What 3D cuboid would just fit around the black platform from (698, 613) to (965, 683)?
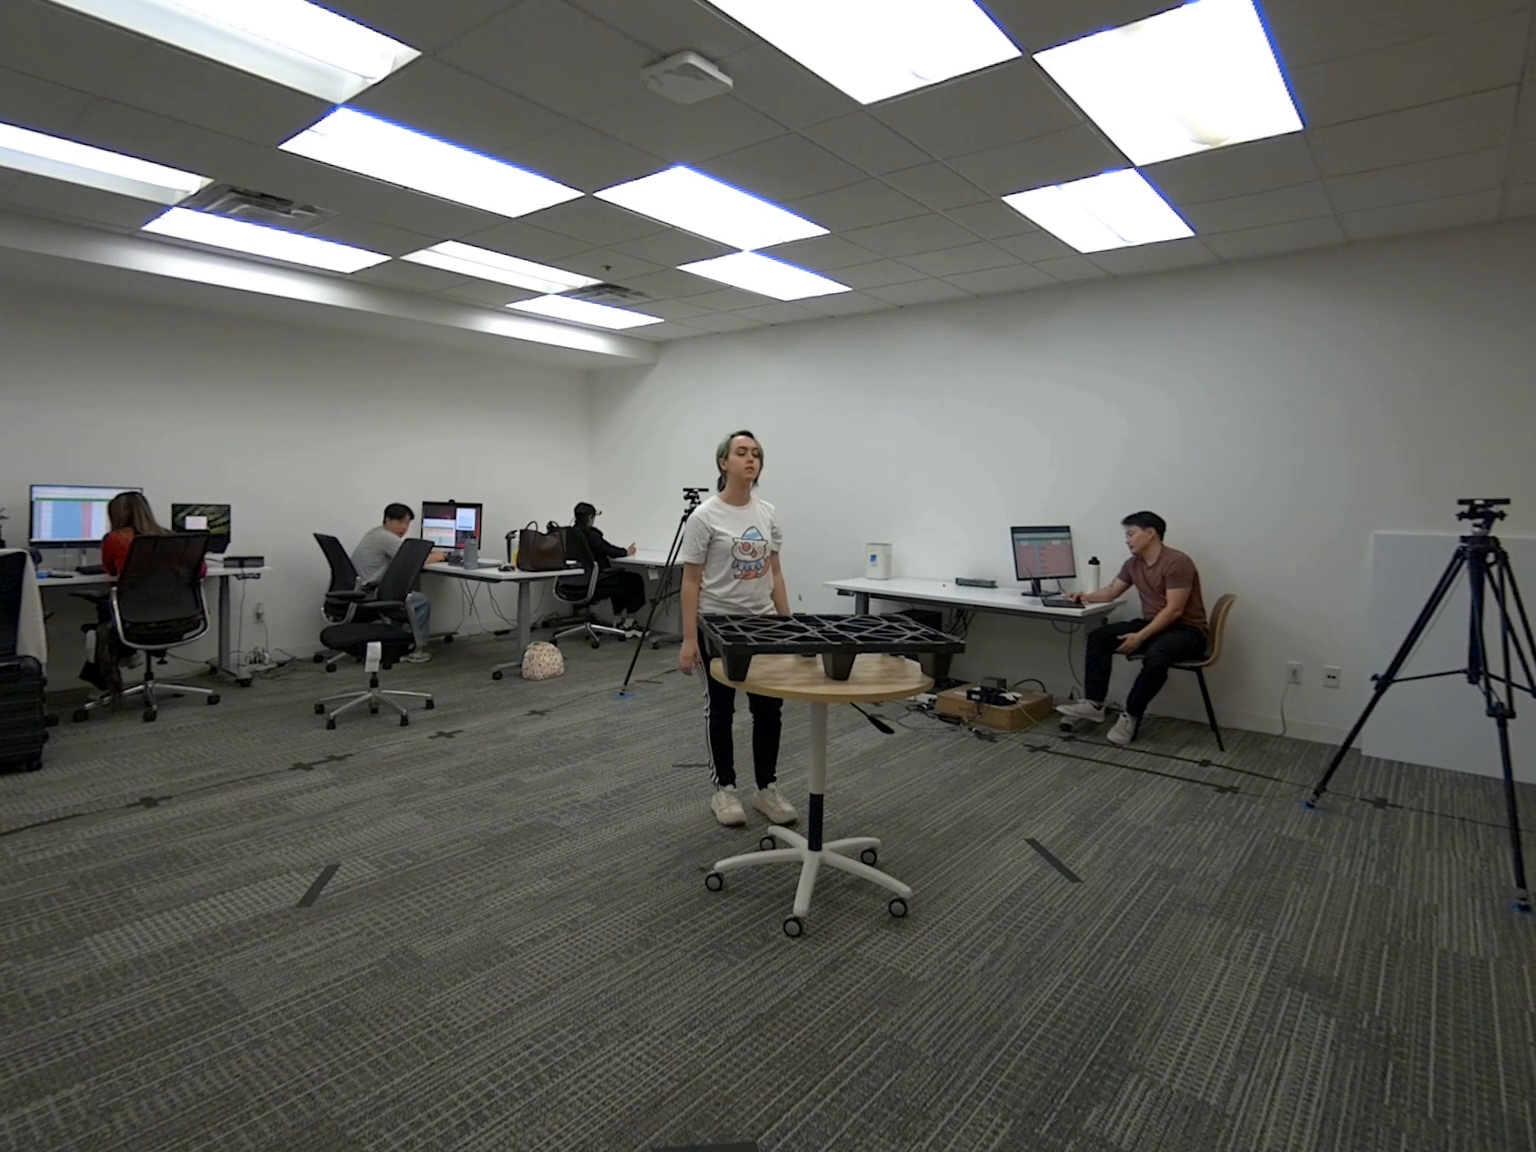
[{"bbox_3d":[0.172,0.241,2.971,0.797,0.143,0.614,1,6,-11],"label":"black platform"}]
